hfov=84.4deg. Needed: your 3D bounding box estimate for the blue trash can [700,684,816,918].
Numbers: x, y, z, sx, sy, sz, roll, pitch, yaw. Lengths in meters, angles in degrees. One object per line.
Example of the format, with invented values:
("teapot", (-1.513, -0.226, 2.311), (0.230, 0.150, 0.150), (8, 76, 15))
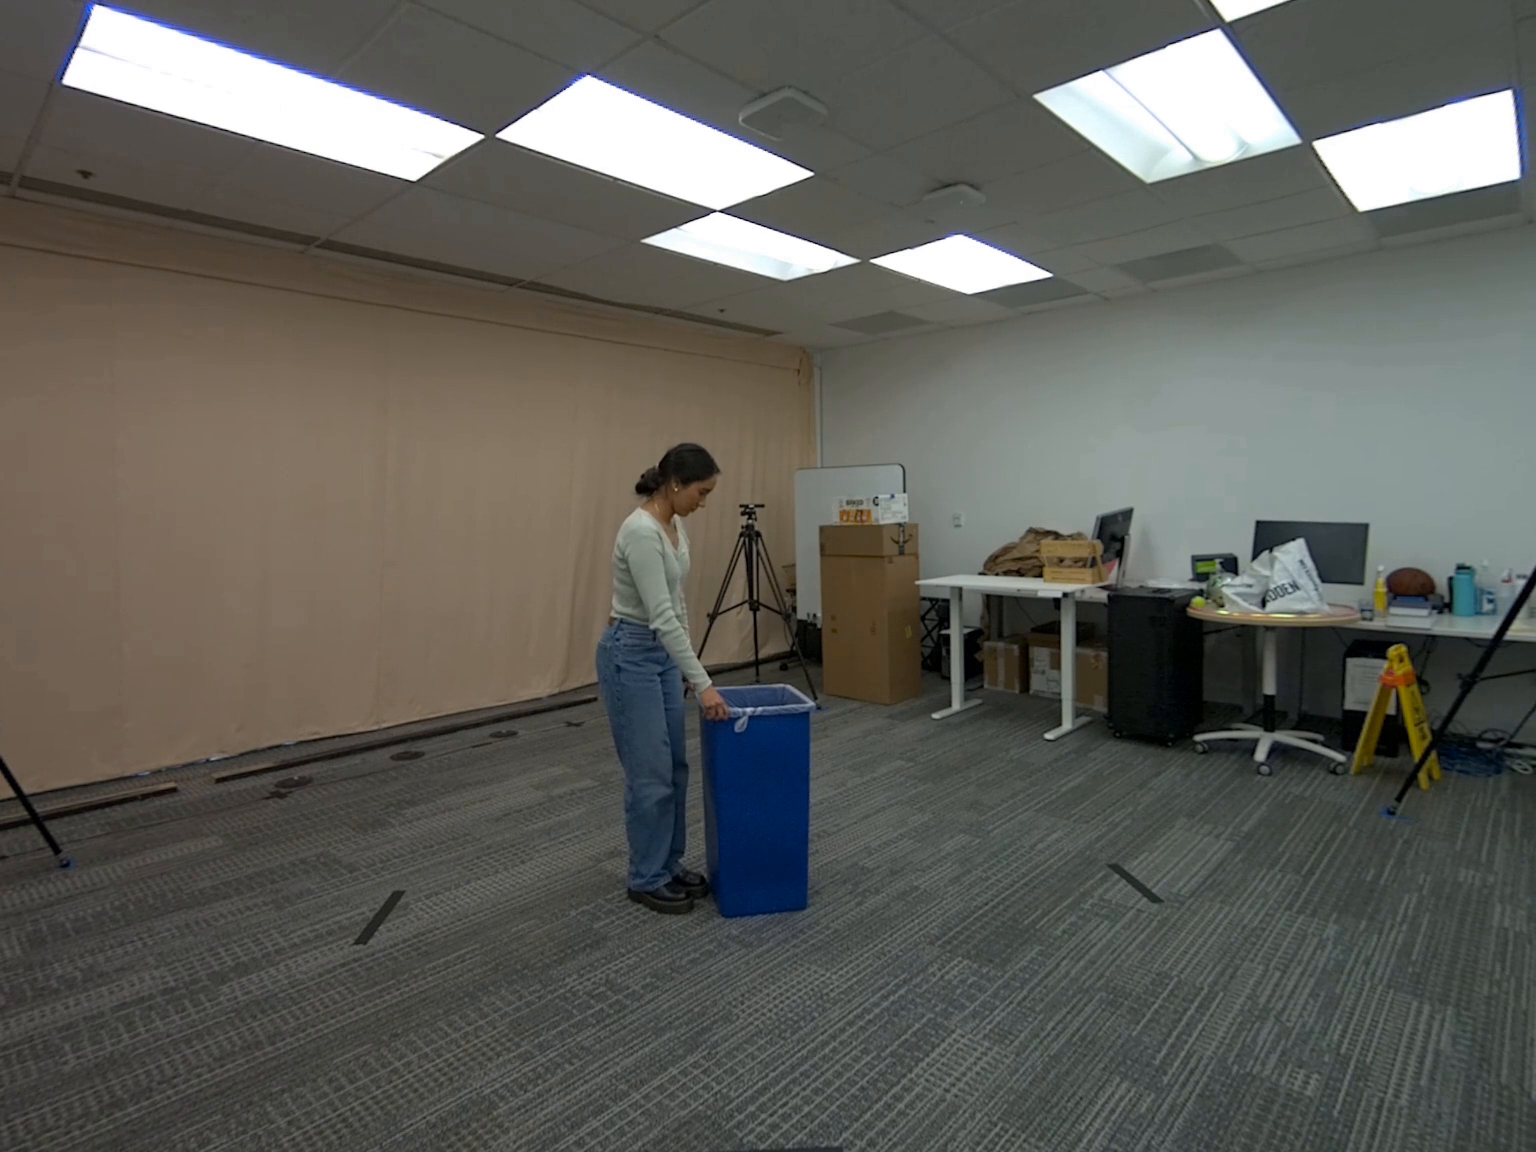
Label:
("blue trash can", (-0.051, 0.781, 2.992), (0.373, 0.712, 0.379), (-1, 3, -12))
